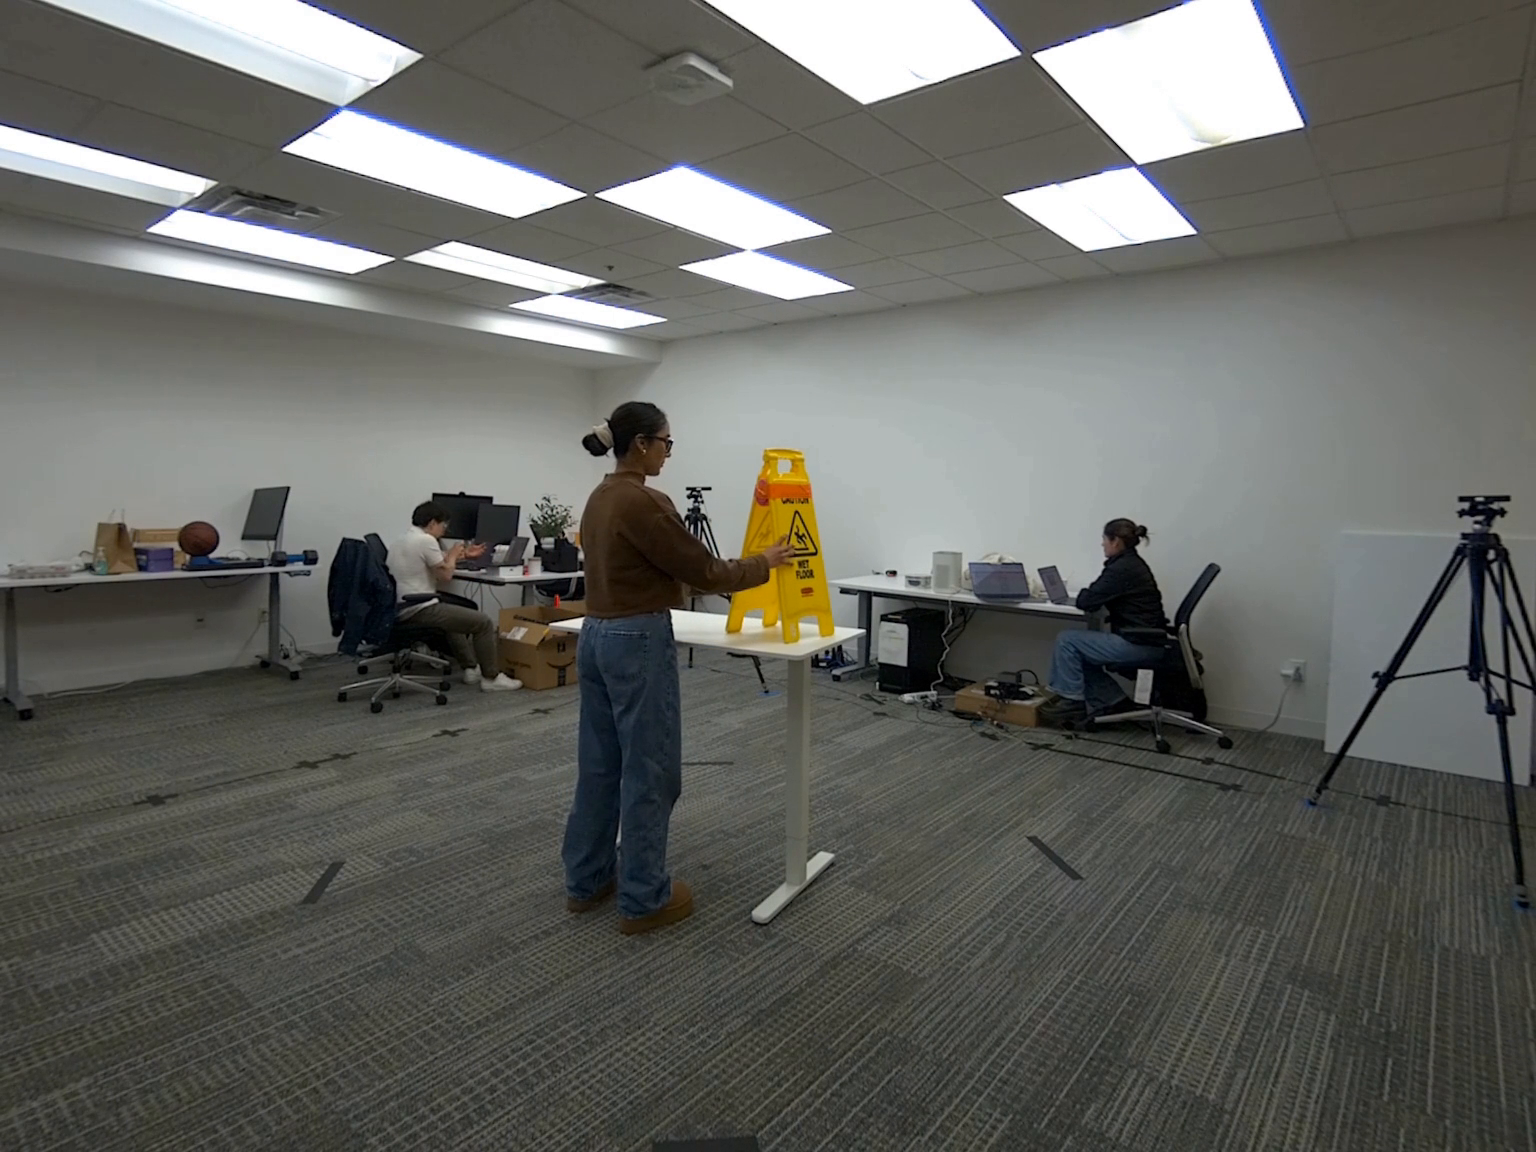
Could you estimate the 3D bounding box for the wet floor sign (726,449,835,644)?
[{"bbox_3d":[0.037,-0.120,2.975,0.299,0.644,0.274,3,3,41],"label":"wet floor sign"}]
